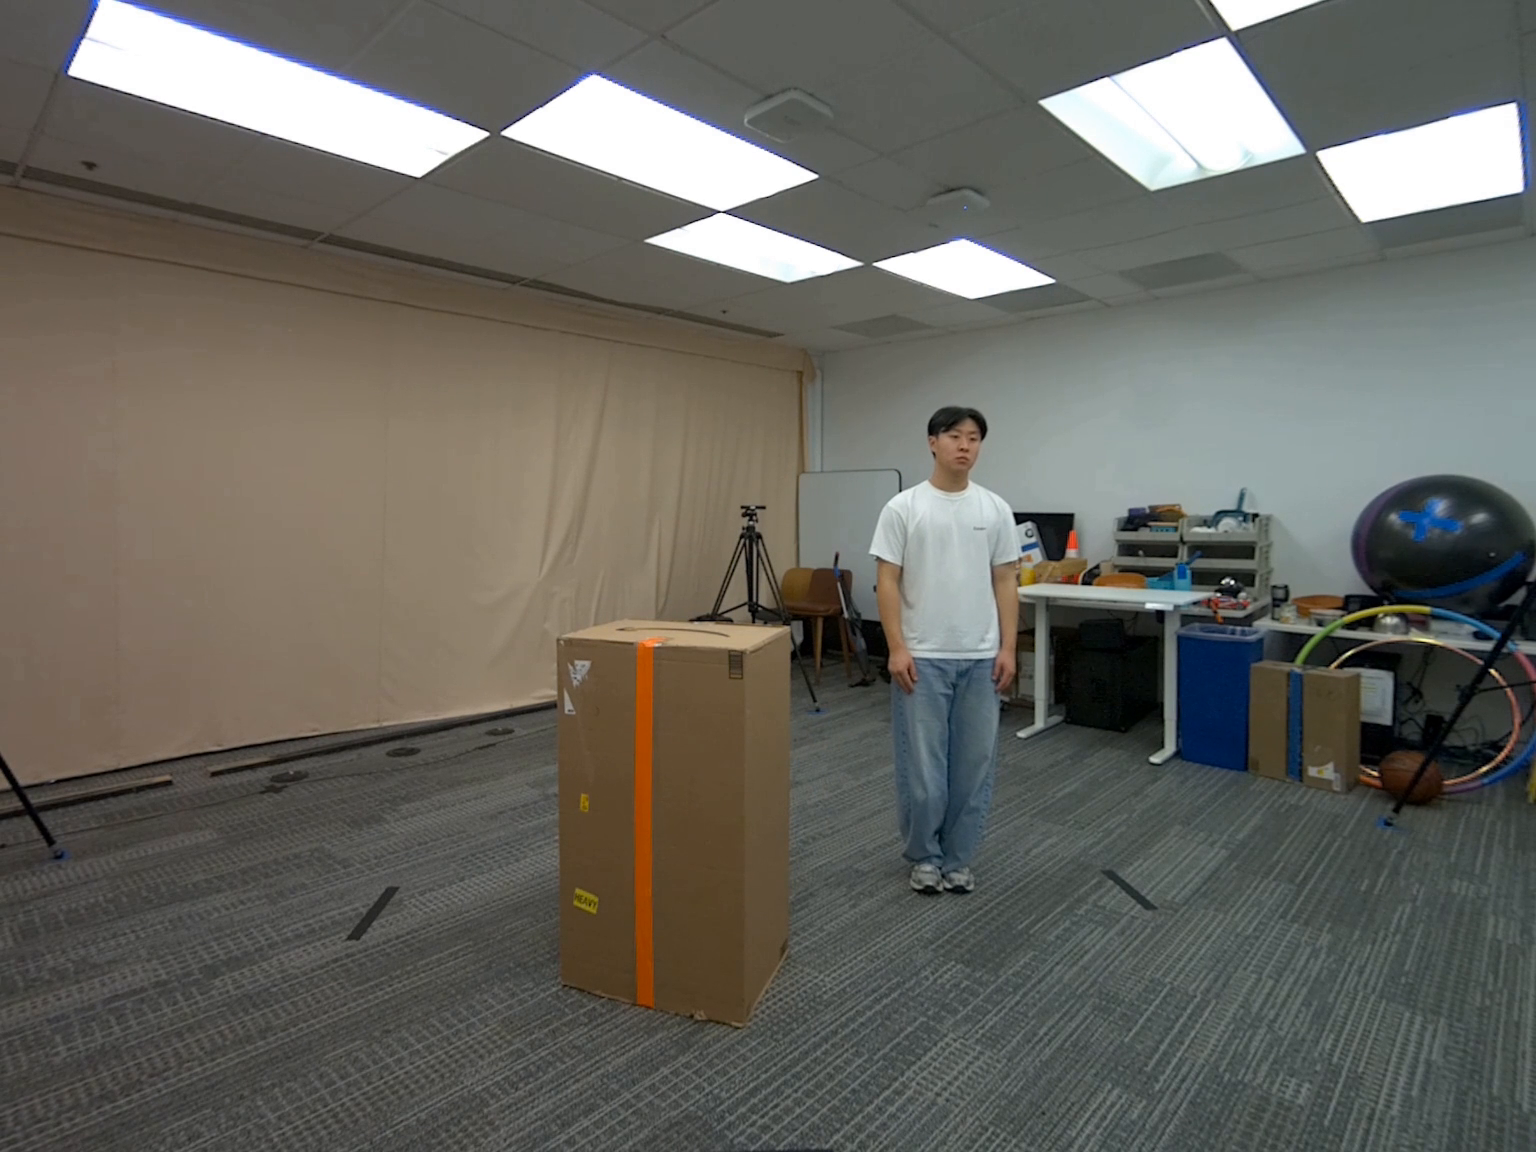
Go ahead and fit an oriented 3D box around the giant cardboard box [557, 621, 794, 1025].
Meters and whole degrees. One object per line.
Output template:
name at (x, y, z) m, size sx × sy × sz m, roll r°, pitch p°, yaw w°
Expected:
giant cardboard box at (-0.265, 0.675, 2.507) m, size 0.591 × 1.024 × 0.417 m, roll 1°, pitch 4°, yaw 21°
